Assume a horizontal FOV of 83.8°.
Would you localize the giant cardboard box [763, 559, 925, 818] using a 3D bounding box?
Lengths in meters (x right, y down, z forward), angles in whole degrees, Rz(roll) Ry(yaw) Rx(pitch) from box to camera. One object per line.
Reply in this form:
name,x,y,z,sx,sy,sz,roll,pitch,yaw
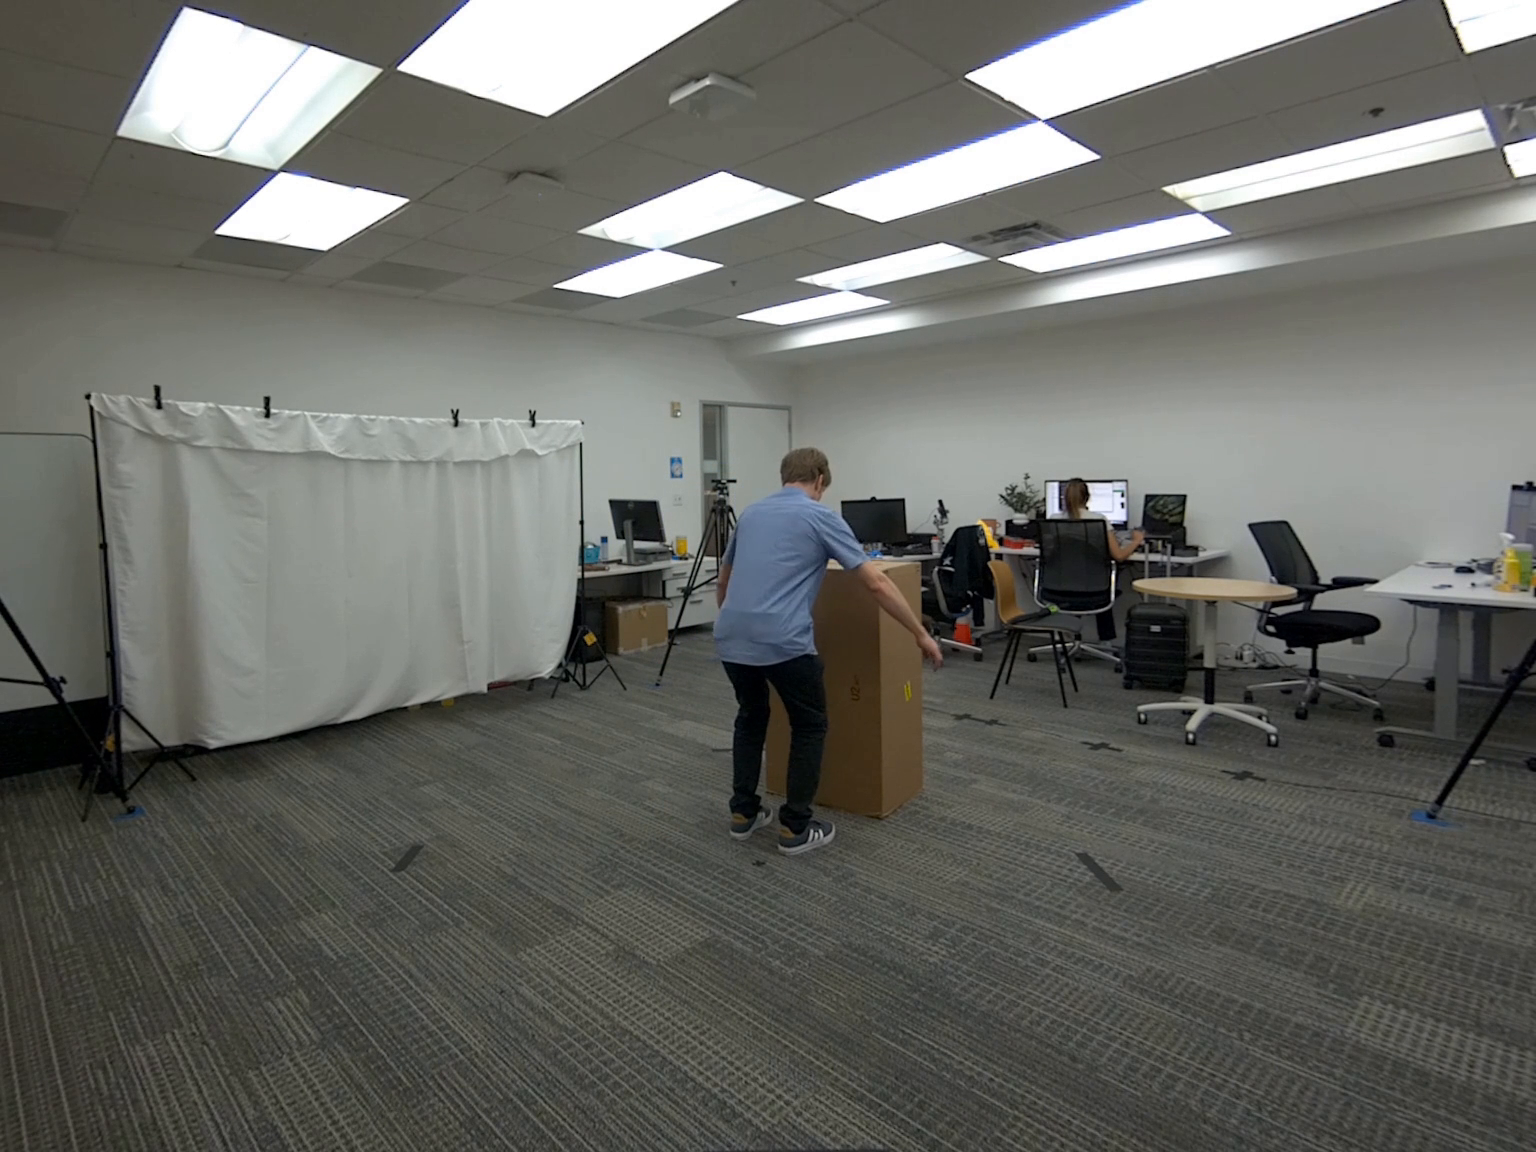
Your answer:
giant cardboard box,0.336,0.454,3.806,0.594,1.023,0.415,1,4,36
